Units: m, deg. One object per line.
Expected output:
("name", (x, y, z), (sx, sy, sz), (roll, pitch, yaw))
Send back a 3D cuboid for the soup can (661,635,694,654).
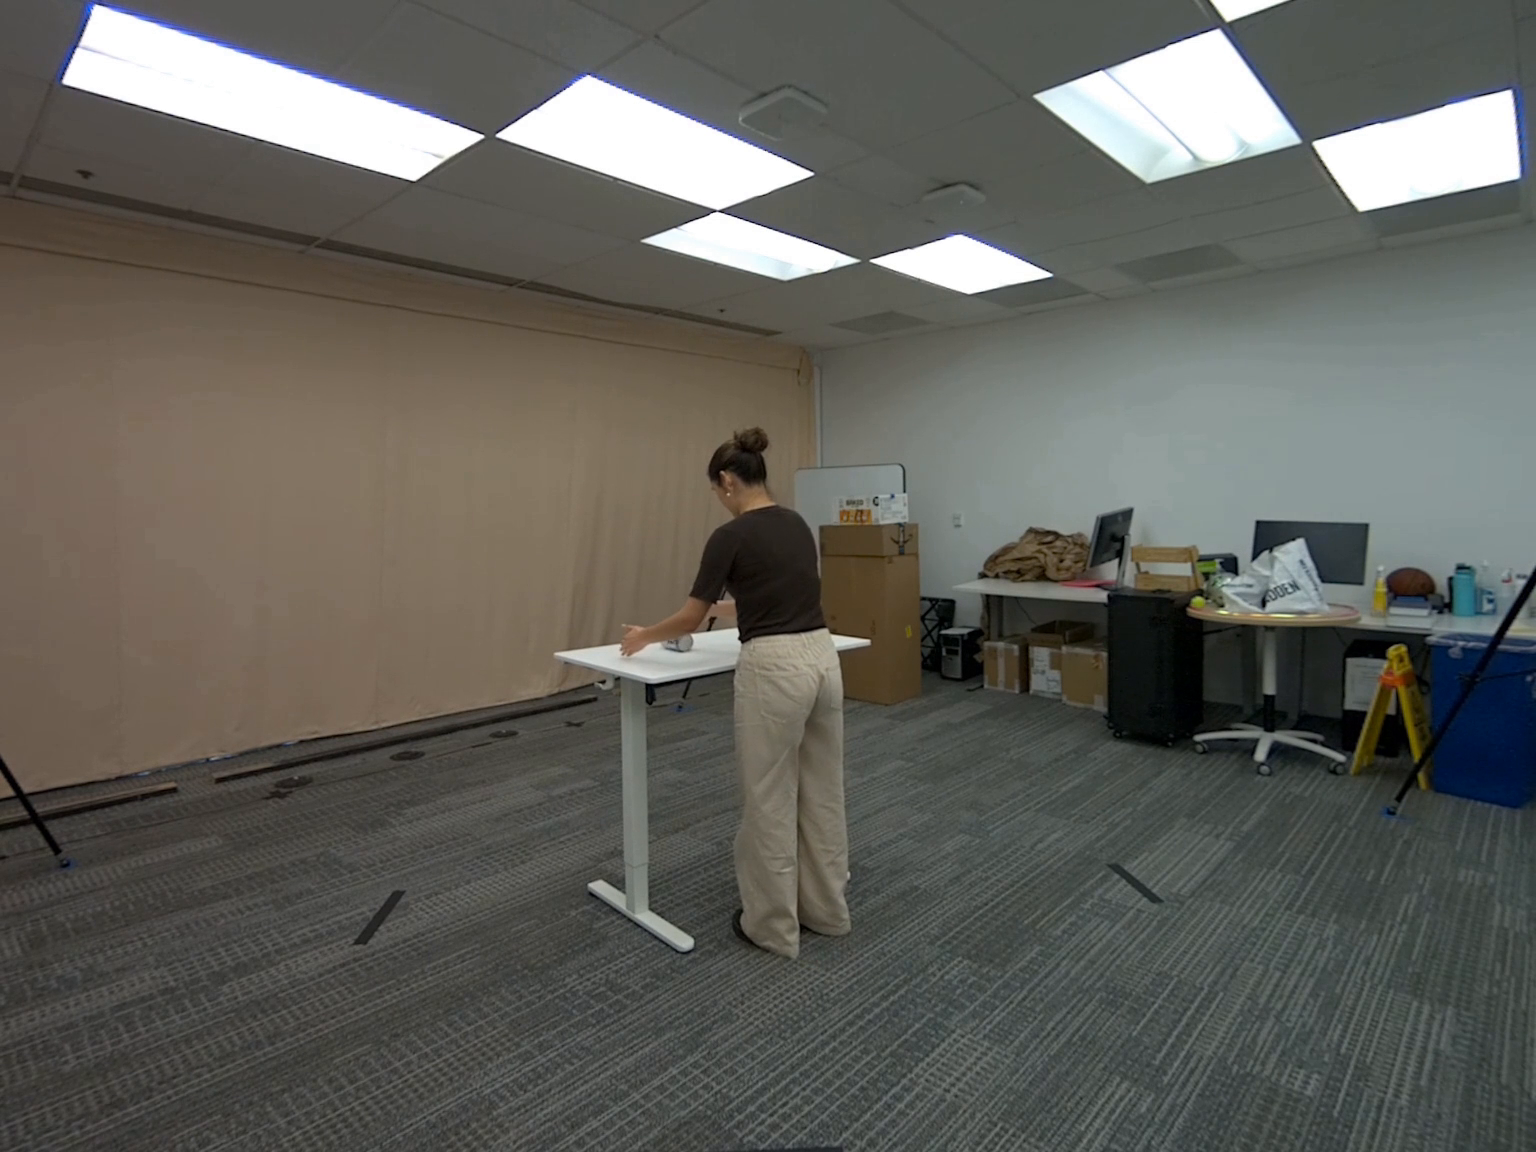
("soup can", (-0.316, 0.228, 2.984), (0.065, 0.067, 0.125), (-4, 3, -40))
